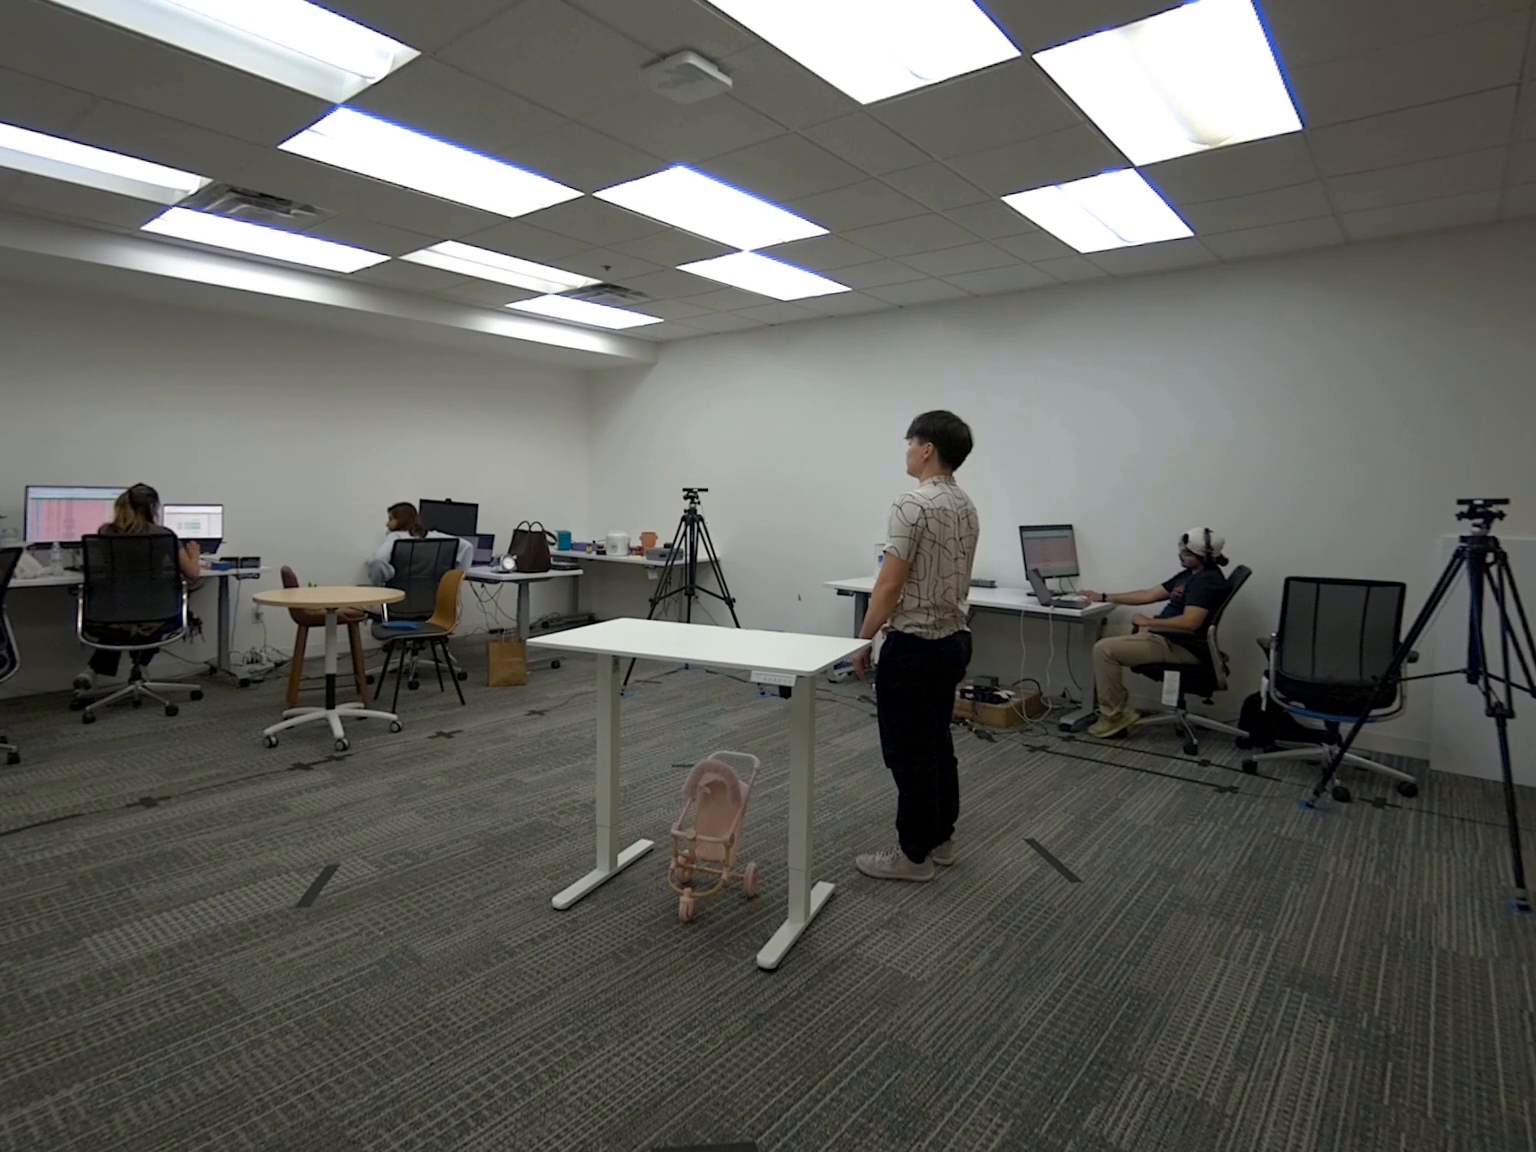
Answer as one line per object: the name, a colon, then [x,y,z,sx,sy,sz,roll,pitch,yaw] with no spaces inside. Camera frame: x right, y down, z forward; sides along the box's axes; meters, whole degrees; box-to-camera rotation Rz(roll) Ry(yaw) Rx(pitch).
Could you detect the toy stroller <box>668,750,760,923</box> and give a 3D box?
toy stroller: [-0.204,0.863,2.899,0.289,0.540,0.329,2,-12,26]
